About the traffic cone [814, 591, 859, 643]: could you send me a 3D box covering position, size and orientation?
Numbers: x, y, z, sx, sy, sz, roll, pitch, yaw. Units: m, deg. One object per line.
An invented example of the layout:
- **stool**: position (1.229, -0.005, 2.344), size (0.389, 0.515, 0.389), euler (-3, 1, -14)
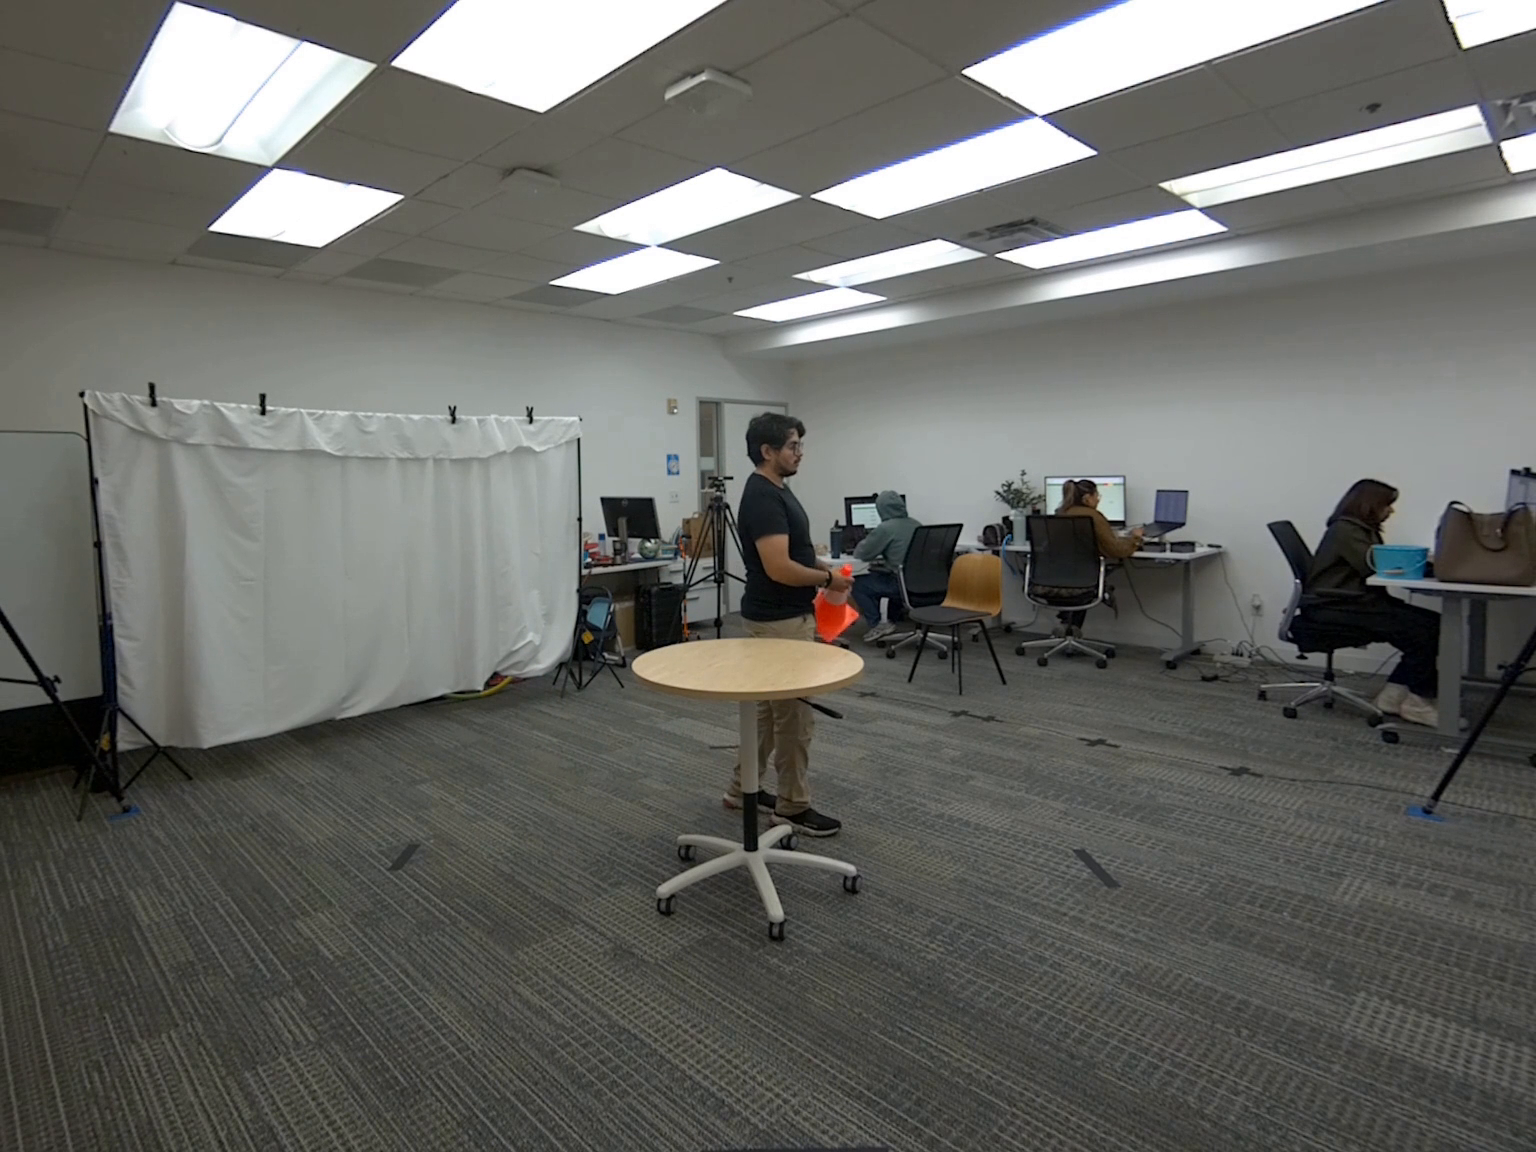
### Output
- **traffic cone**: position (0.277, 0.063, 3.520), size (0.202, 0.210, 0.376), euler (-37, -21, -27)
